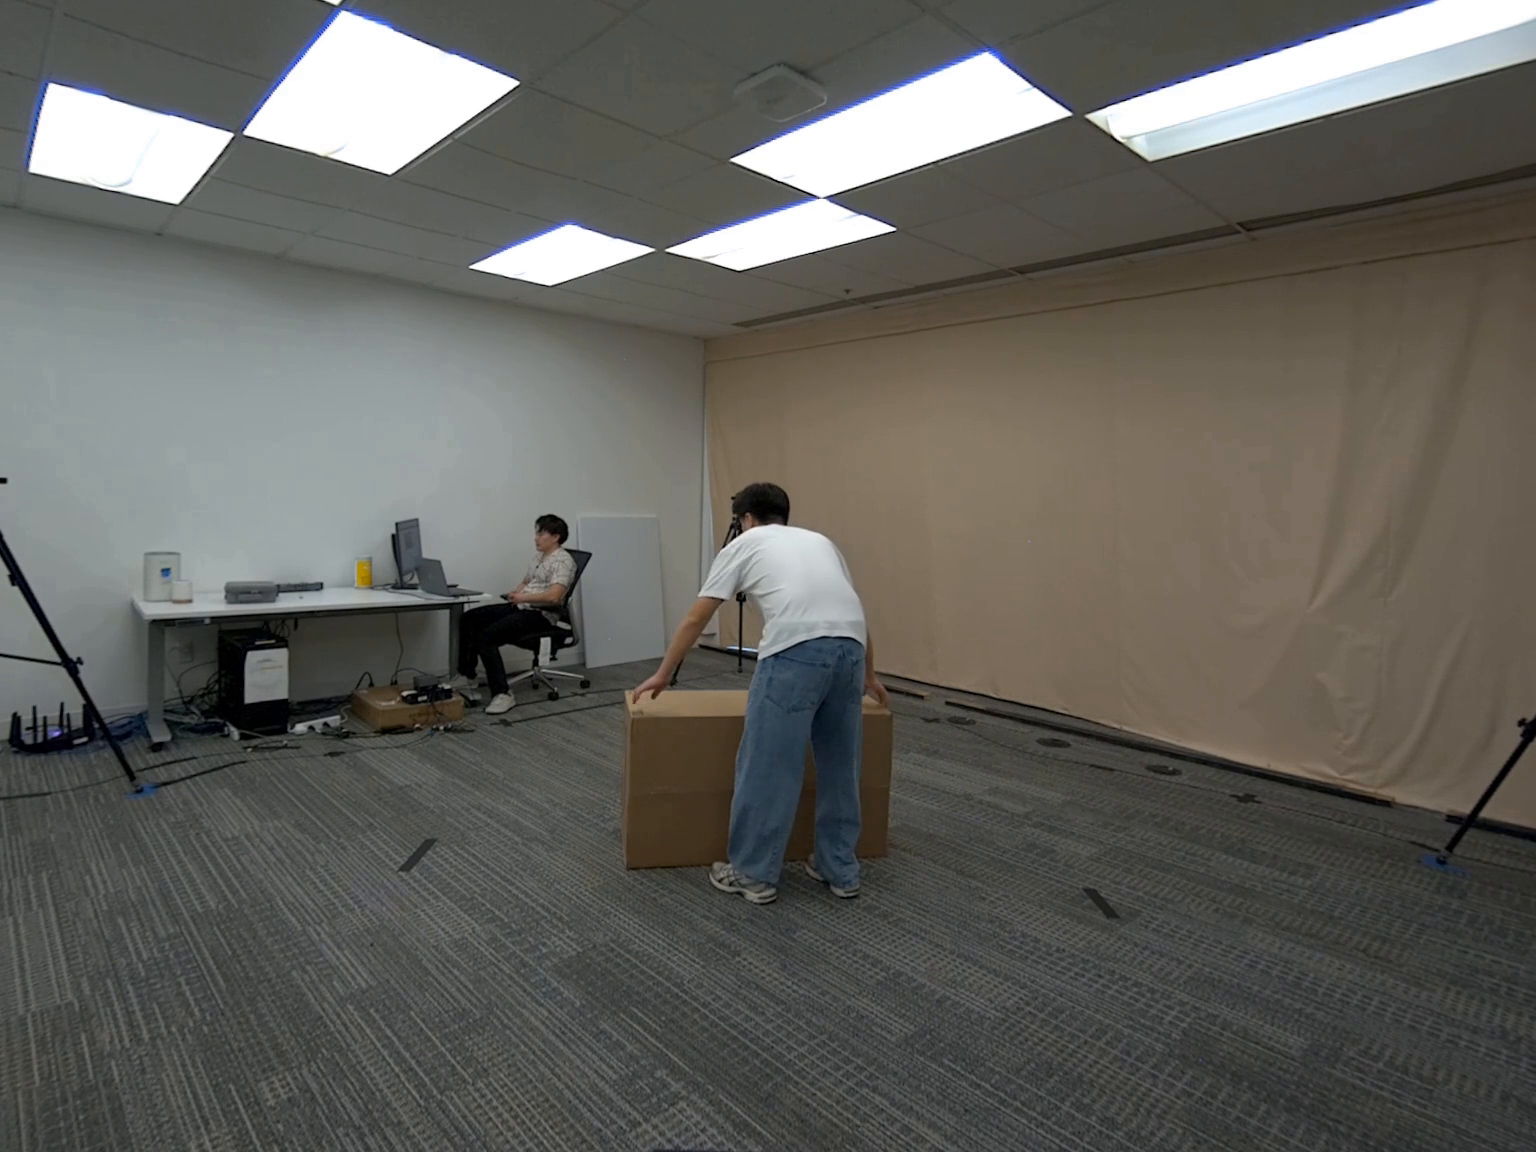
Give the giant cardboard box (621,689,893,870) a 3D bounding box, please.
[{"bbox_3d":[-0.071,0.787,3.408,1.017,0.576,0.431,1,5,-11],"label":"giant cardboard box"}]
